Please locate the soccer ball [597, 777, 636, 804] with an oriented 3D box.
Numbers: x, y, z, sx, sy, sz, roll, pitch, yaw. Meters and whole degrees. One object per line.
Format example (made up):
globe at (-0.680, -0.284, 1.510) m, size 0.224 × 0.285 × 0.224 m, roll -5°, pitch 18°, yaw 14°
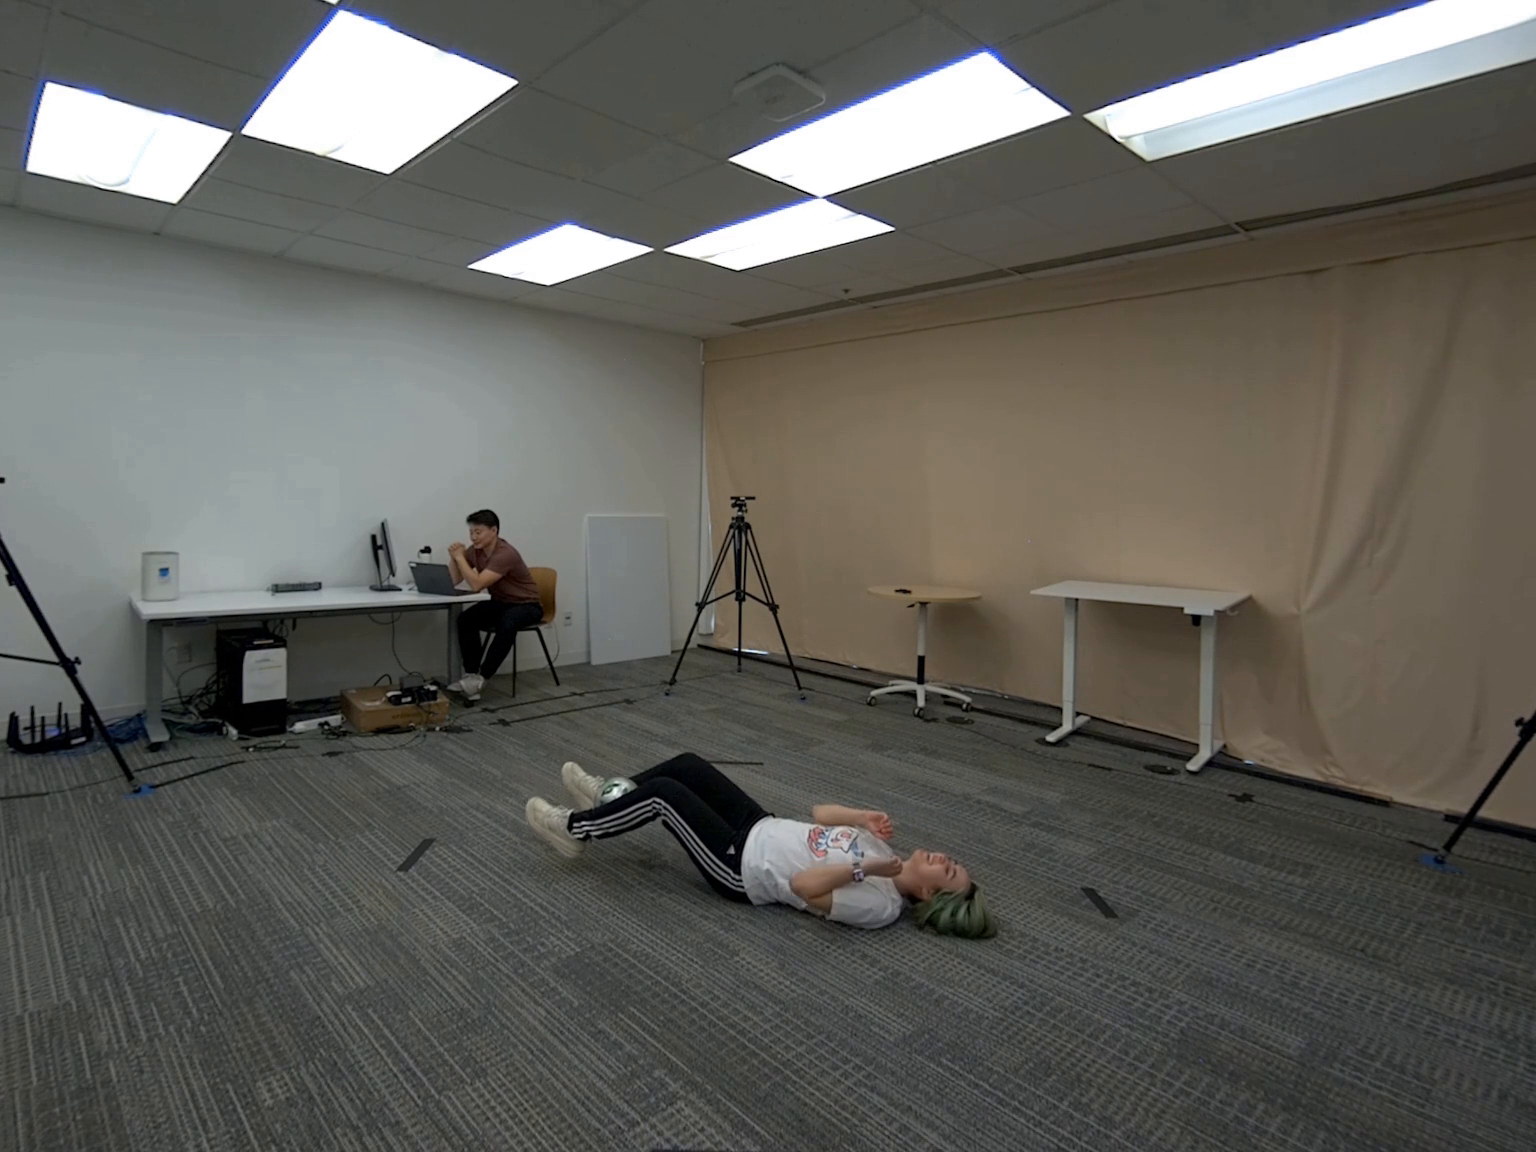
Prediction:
soccer ball at (-0.558, 0.858, 3.169) m, size 0.187 × 0.187 × 0.188 m, roll 1°, pitch 4°, yaw -1°
